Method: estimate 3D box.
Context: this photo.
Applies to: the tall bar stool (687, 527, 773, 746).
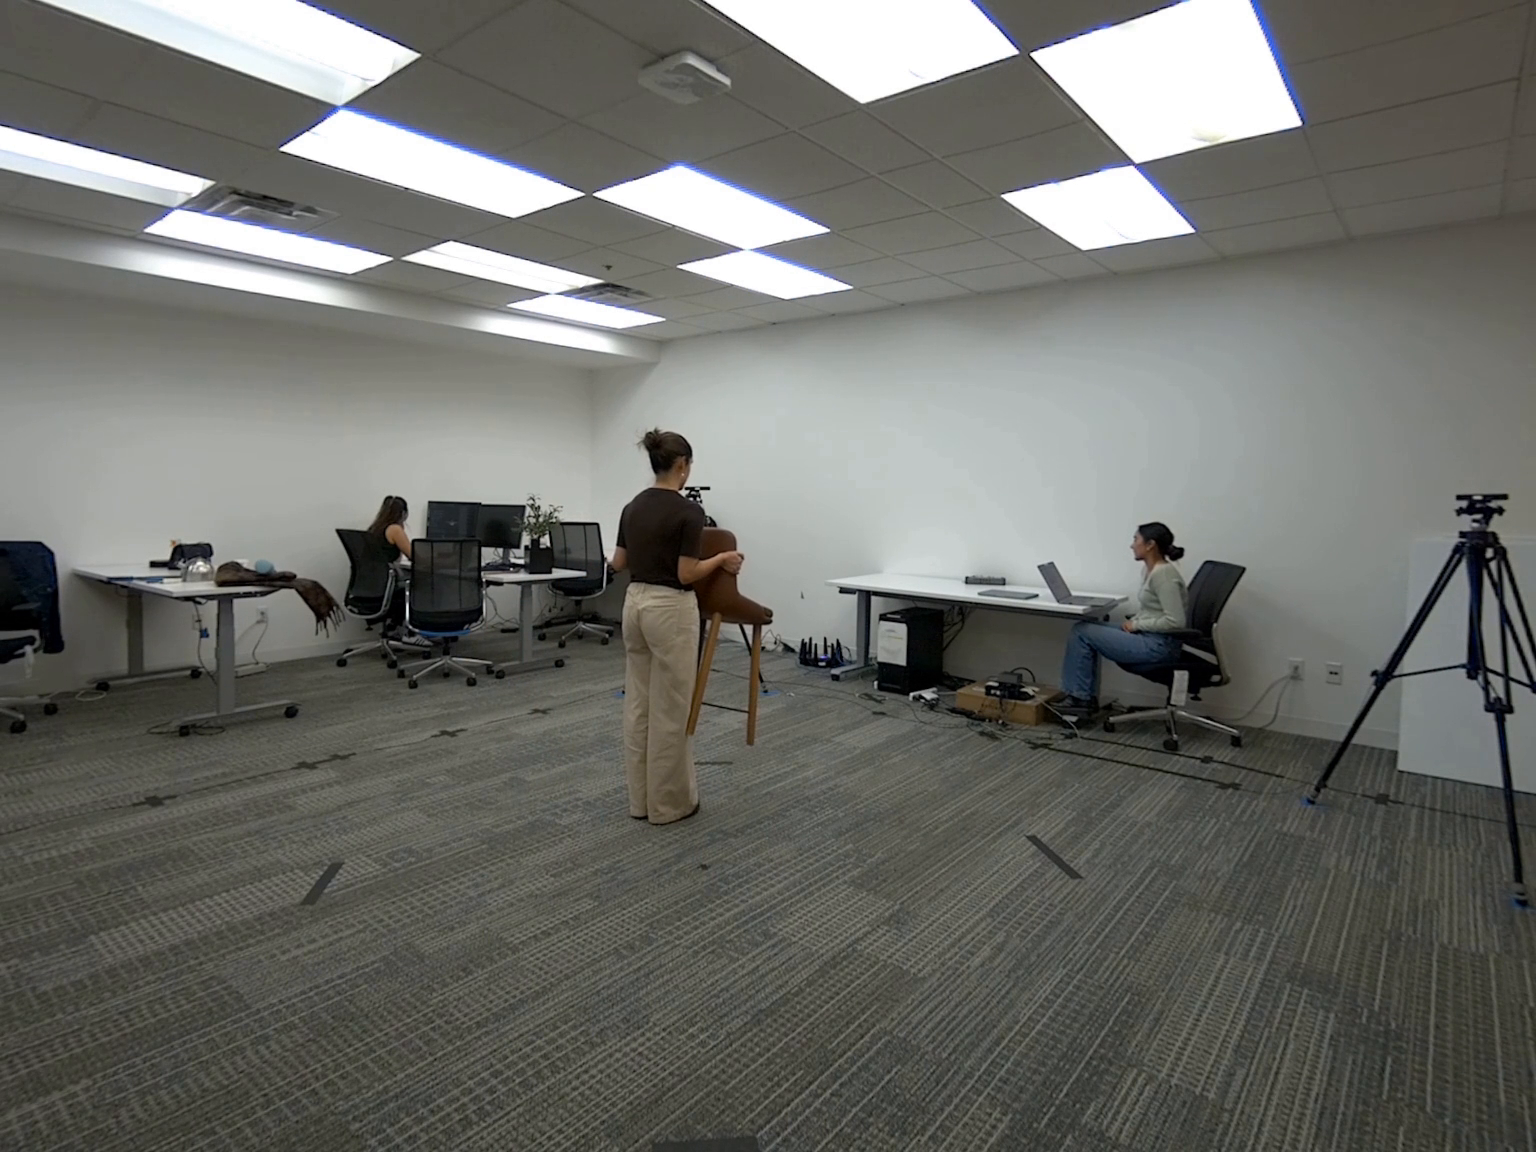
[{"bbox_3d":[-0.285,0.267,3.825,0.471,0.897,0.449,1,-13,36],"label":"tall bar stool"}]
